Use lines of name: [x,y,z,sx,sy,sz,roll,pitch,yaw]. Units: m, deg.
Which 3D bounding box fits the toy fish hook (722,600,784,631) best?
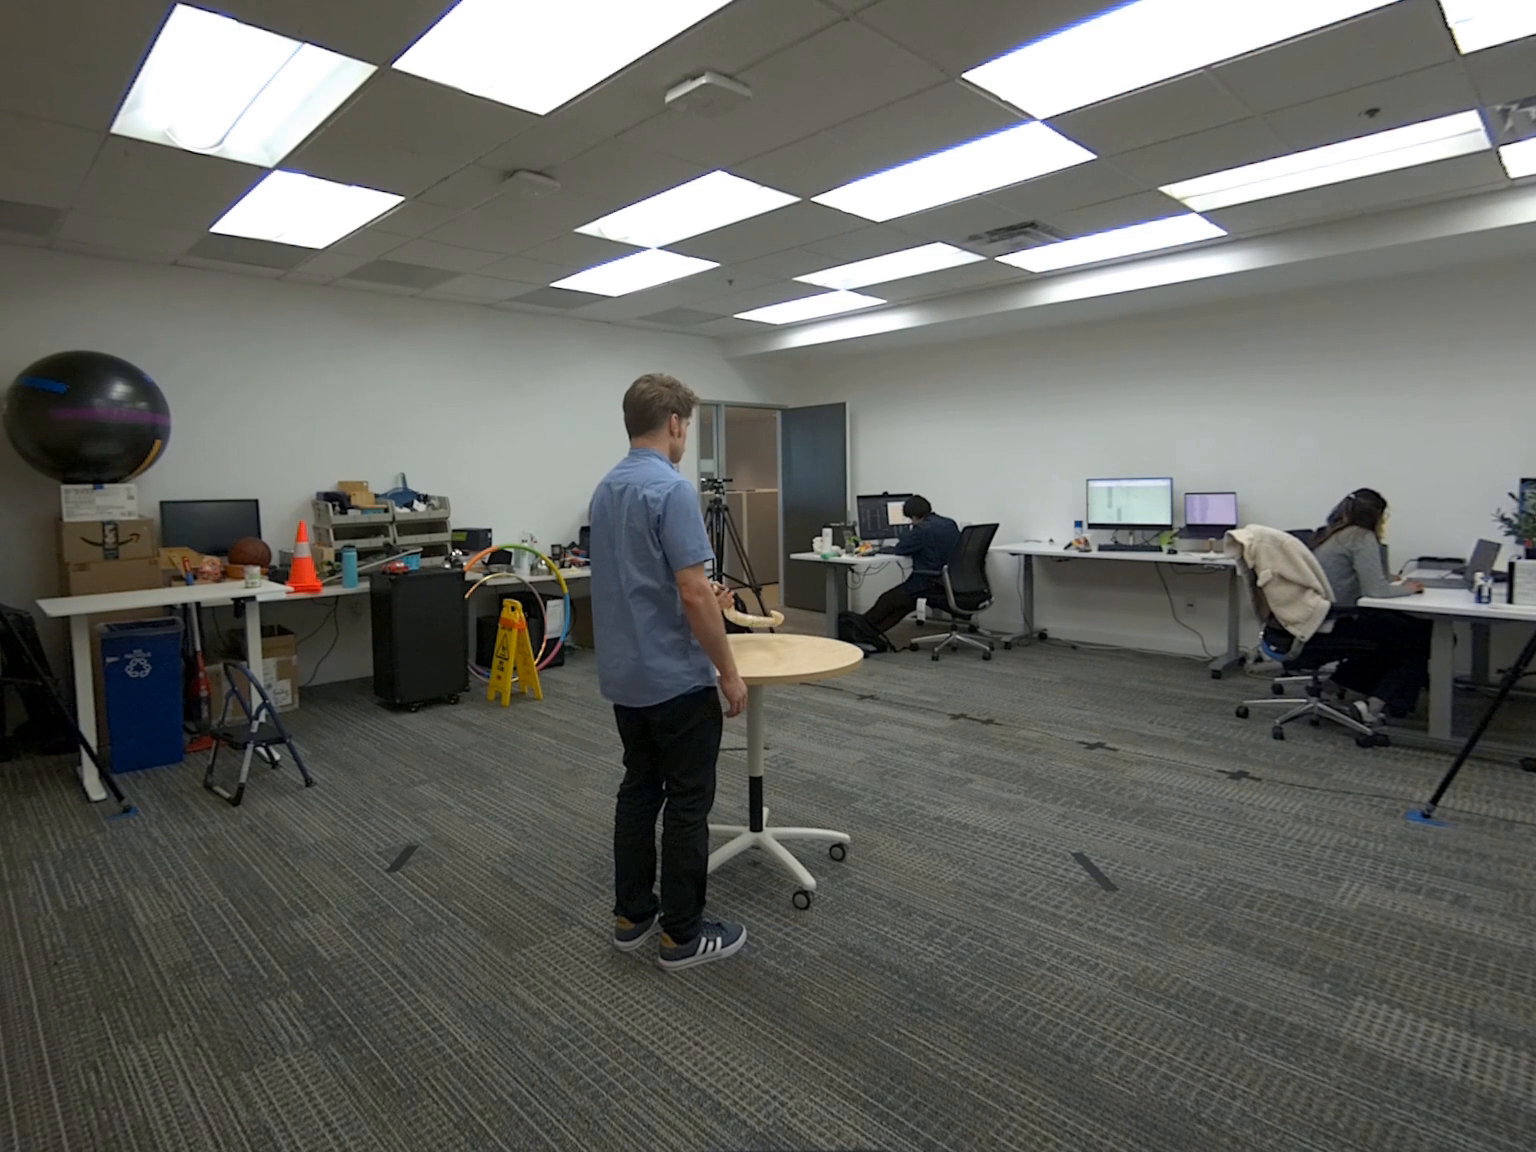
toy fish hook: [-0.070,0.102,3.038,0.228,0.049,0.492,0,-15,17]
